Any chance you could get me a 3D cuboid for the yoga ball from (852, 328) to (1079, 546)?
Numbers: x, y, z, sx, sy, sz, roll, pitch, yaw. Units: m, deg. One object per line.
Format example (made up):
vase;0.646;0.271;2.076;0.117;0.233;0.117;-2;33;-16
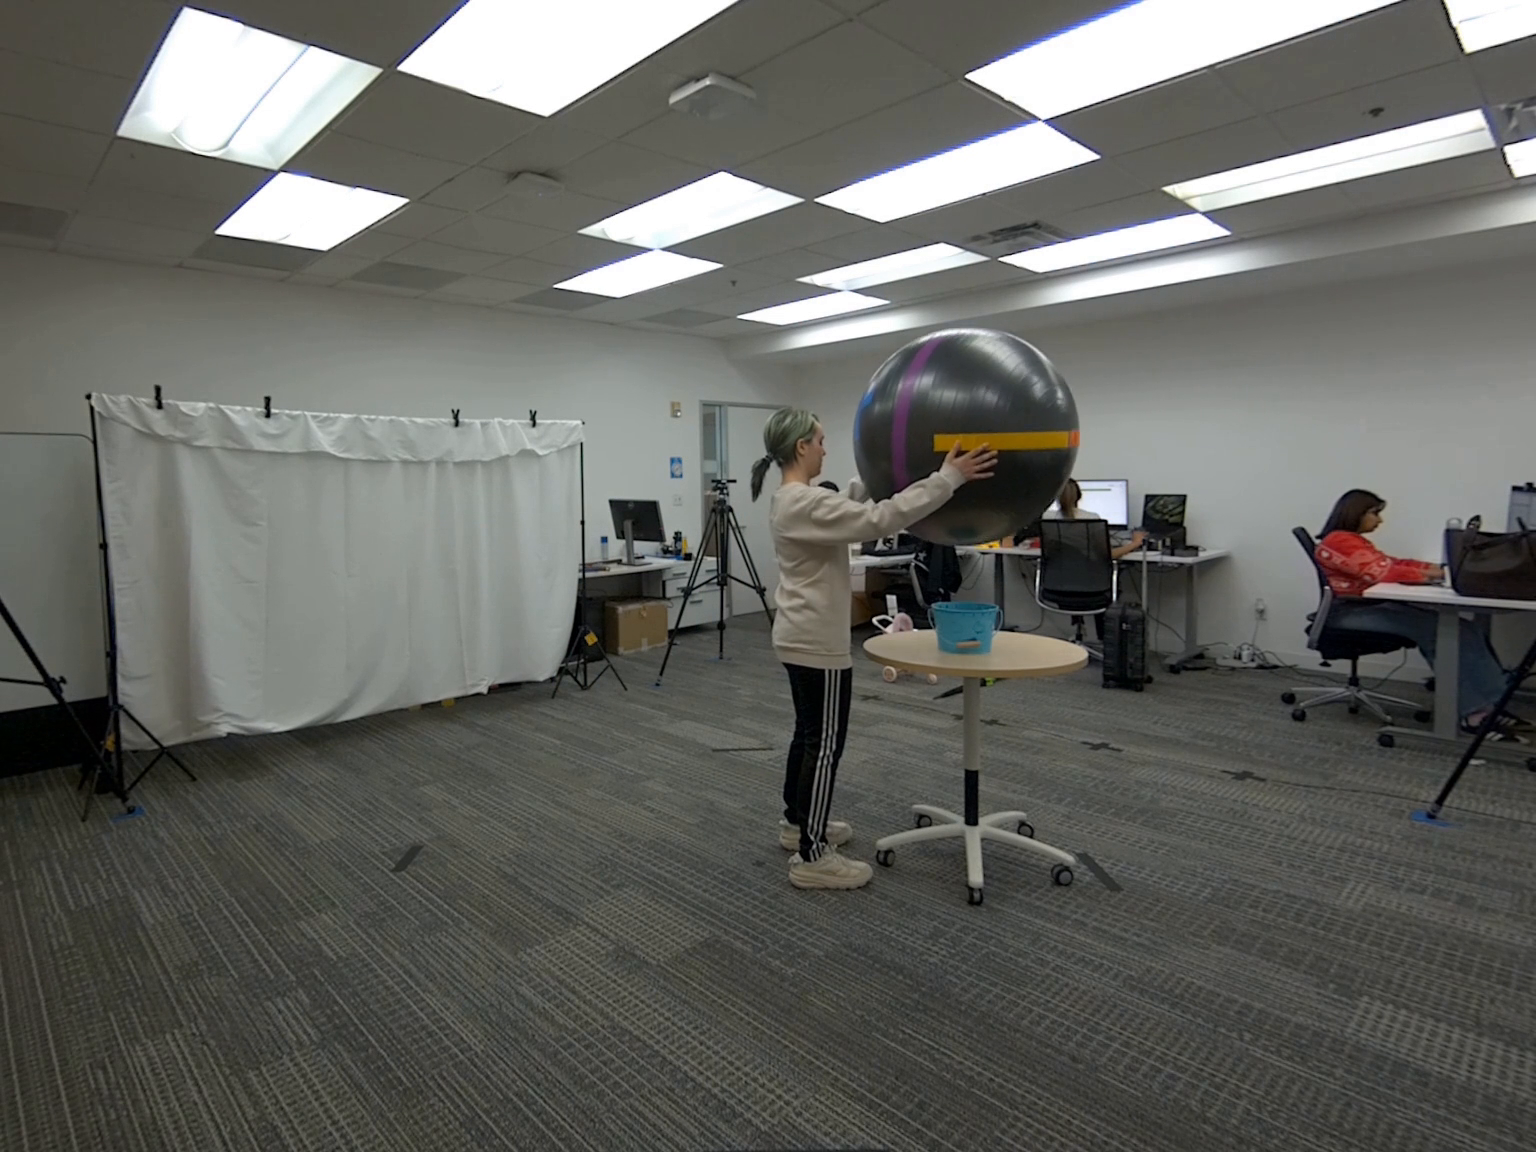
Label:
yoga ball;0.688;-0.484;2.992;0.757;0.755;0.762;-1;5;-2
